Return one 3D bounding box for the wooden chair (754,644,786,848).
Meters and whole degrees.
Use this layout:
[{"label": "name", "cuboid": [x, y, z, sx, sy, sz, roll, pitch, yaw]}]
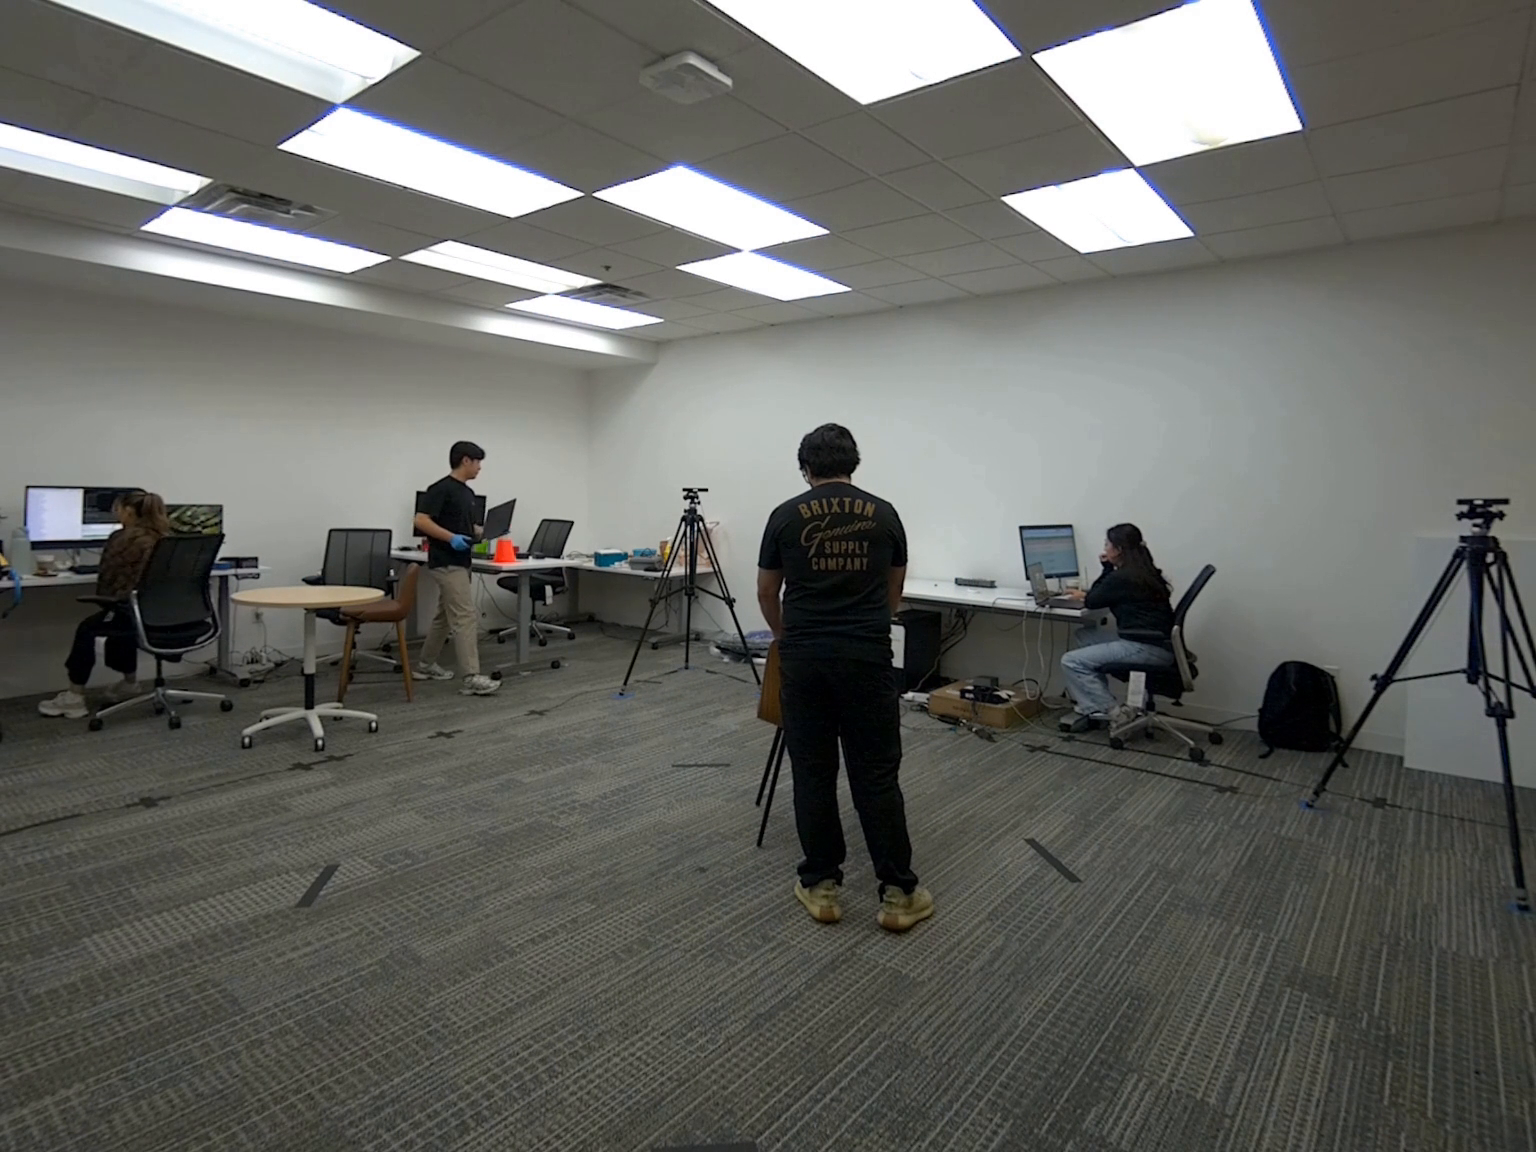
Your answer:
[{"label": "wooden chair", "cuboid": [0.169, 0.607, 3.510, 0.479, 0.871, 0.526, 1, 8, 0]}]
